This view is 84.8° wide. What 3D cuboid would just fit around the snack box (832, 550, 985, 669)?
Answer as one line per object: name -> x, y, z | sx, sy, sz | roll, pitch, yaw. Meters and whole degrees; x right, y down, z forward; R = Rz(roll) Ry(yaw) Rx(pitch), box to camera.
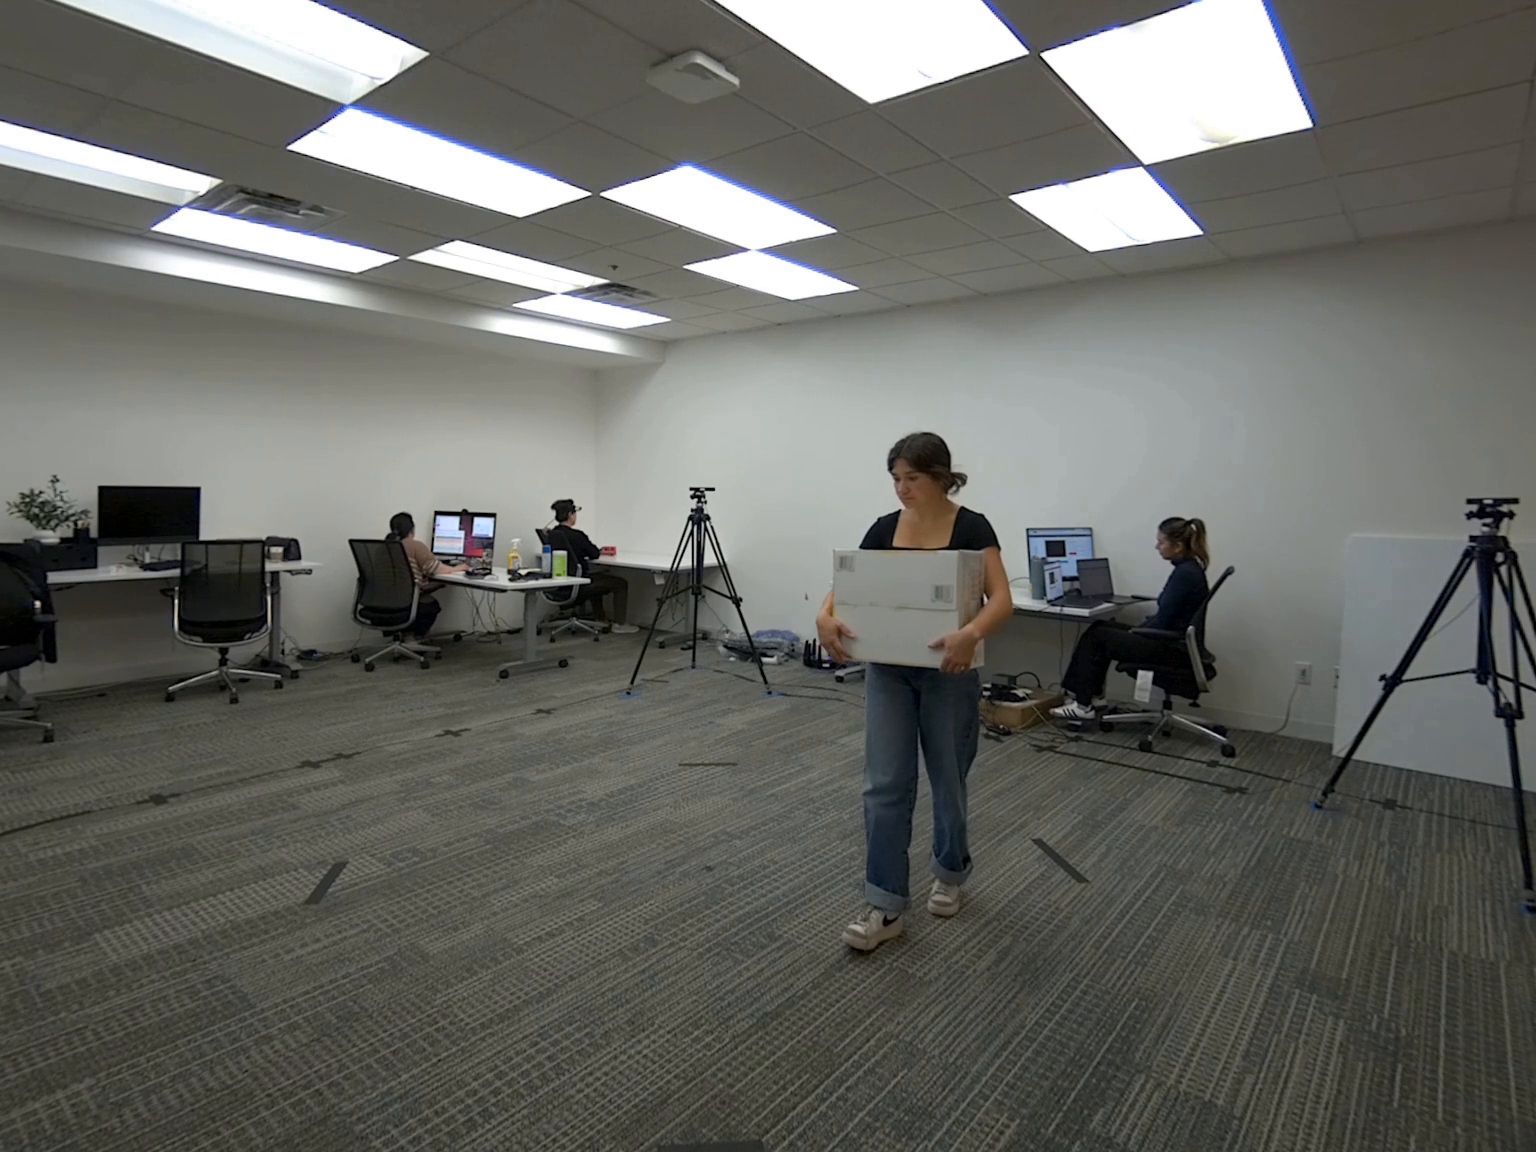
snack box -> 0.412, 0.084, 2.579 | 0.417, 0.341, 0.199 | 0, -2, 35
